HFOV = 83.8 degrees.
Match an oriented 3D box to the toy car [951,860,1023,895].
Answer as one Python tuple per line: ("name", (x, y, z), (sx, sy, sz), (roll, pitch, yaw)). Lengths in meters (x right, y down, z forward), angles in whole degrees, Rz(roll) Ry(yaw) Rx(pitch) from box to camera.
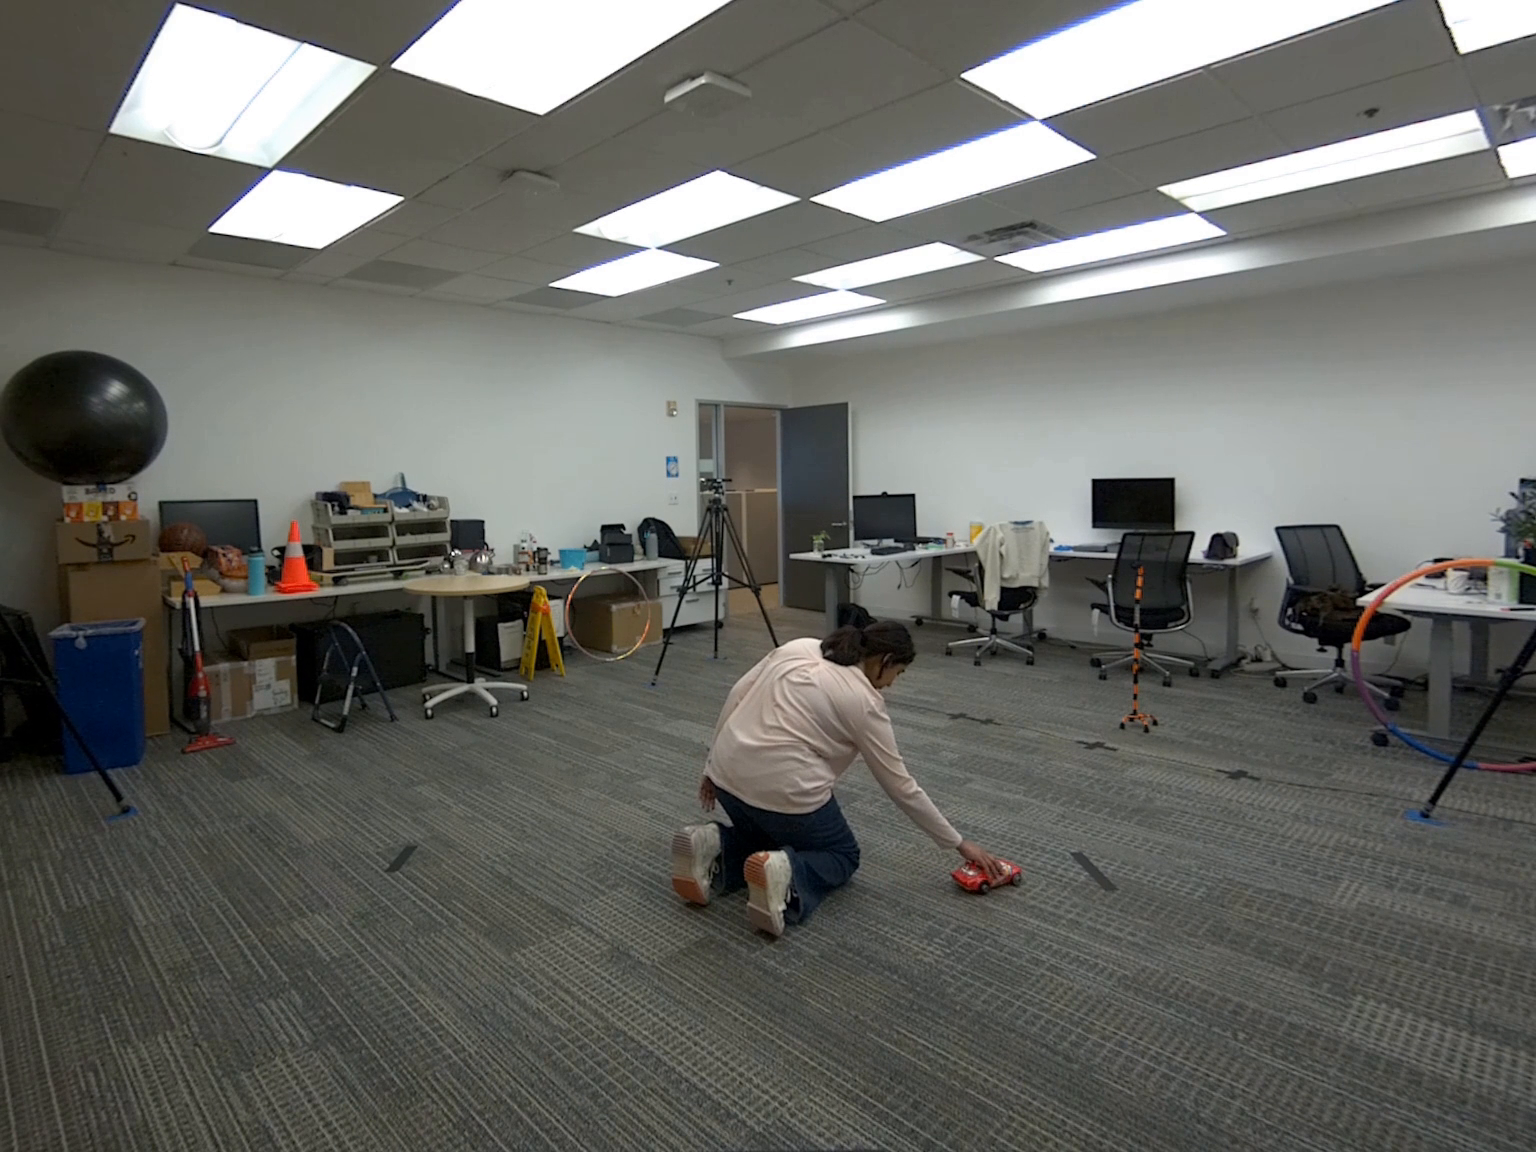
("toy car", (0.733, 1.015, 2.902), (0.248, 0.083, 0.134), (9, 2, -27))
